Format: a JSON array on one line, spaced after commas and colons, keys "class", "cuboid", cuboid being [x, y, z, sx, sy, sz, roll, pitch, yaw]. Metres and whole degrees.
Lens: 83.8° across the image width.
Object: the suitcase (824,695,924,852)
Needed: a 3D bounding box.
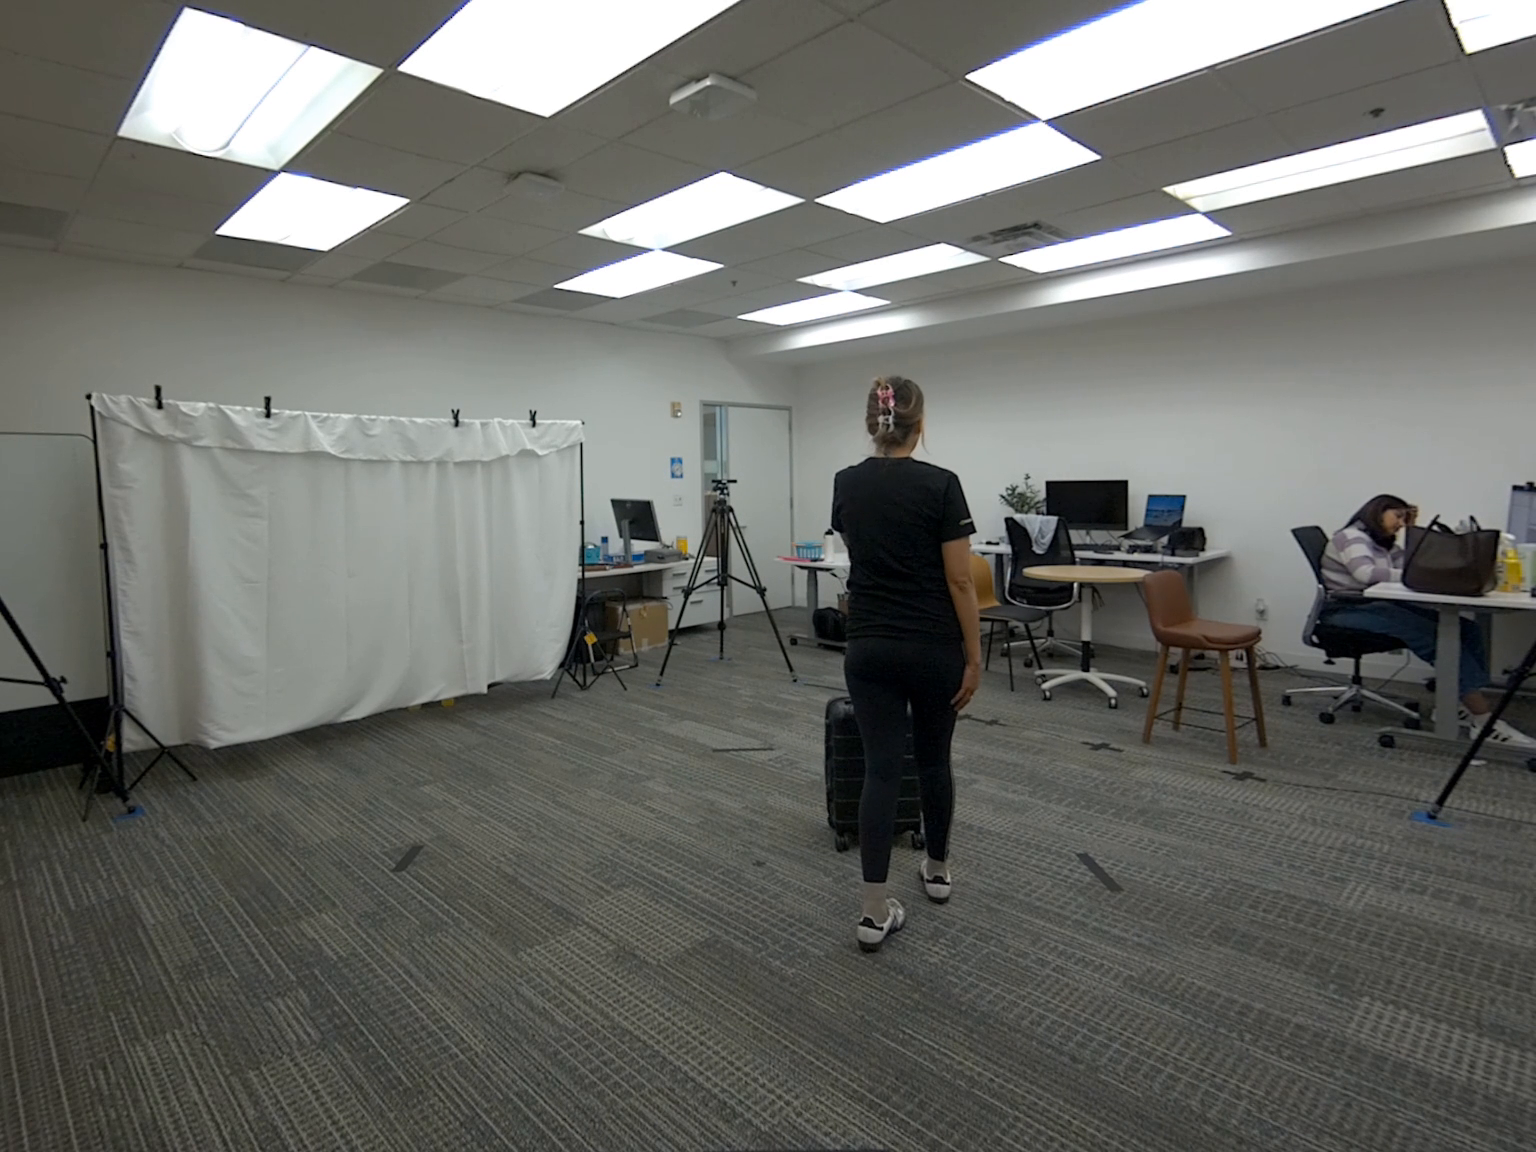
[{"class": "suitcase", "cuboid": [0.403, 0.539, 3.323, 0.385, 0.979, 0.256, -2, -1, 1]}]
